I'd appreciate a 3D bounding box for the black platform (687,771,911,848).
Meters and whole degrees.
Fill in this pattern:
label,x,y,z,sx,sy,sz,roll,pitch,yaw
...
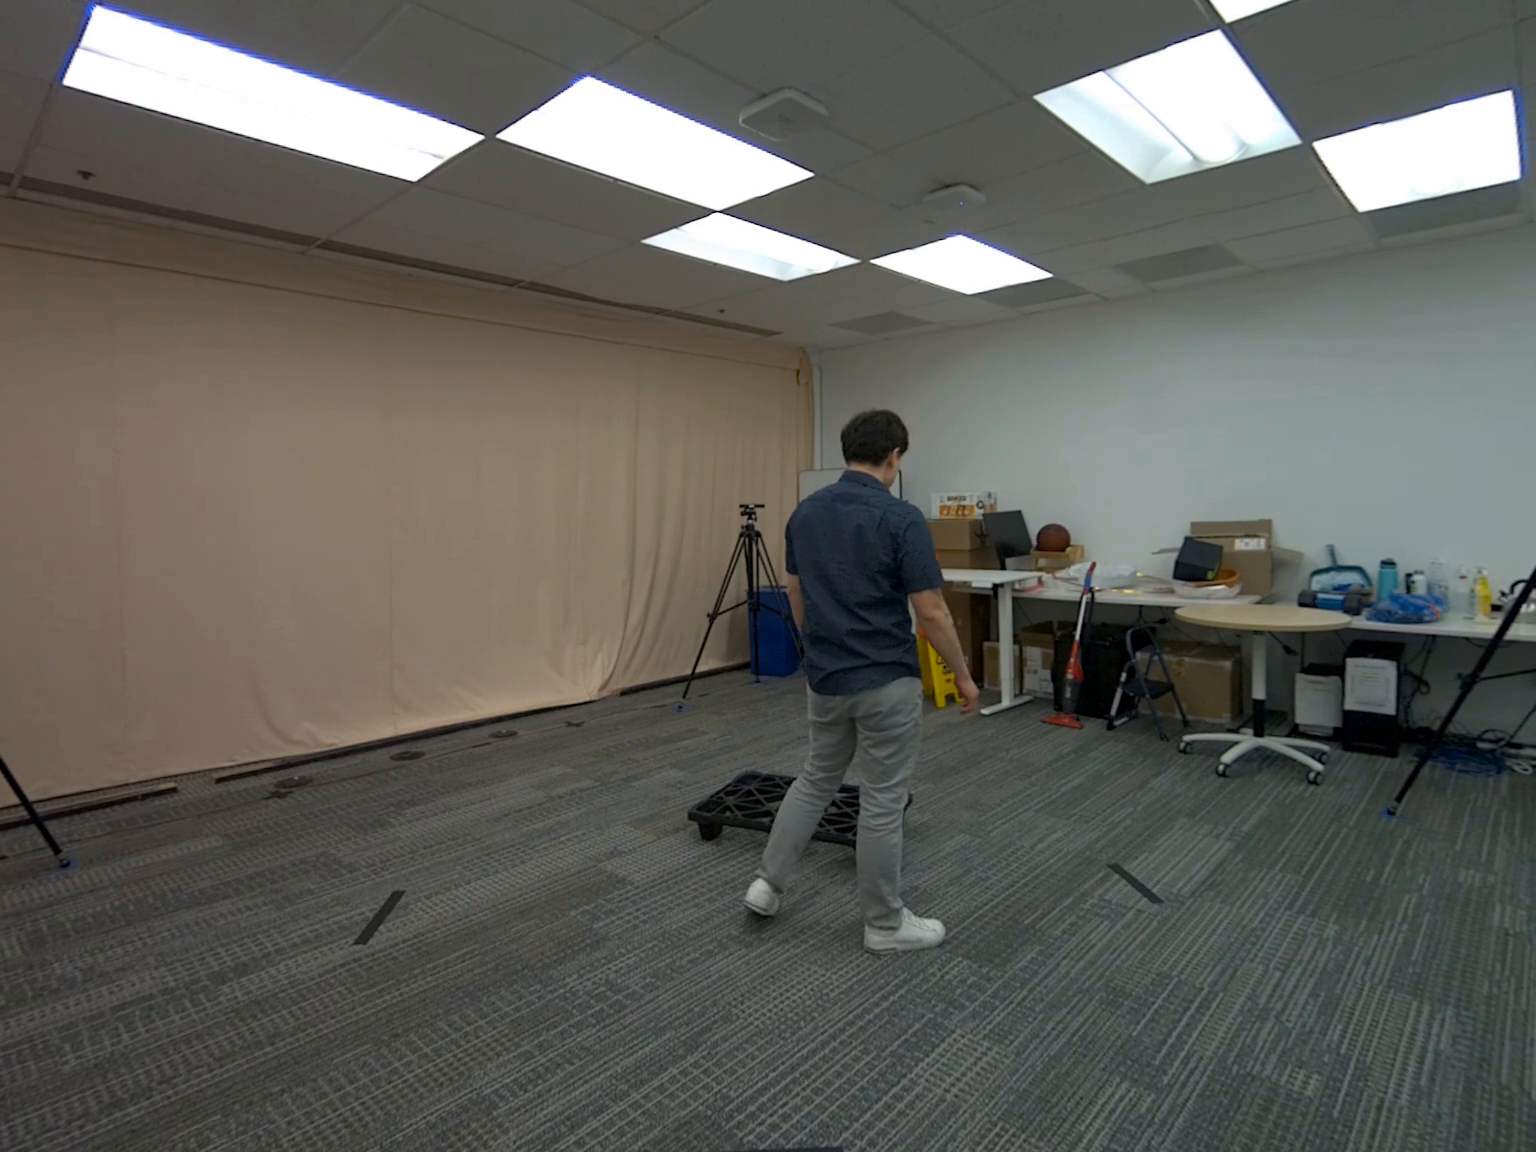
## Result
label,x,y,z,sx,sy,sz,roll,pitch,yaw
black platform,0.150,1.017,3.548,0.826,0.143,0.591,1,5,25
